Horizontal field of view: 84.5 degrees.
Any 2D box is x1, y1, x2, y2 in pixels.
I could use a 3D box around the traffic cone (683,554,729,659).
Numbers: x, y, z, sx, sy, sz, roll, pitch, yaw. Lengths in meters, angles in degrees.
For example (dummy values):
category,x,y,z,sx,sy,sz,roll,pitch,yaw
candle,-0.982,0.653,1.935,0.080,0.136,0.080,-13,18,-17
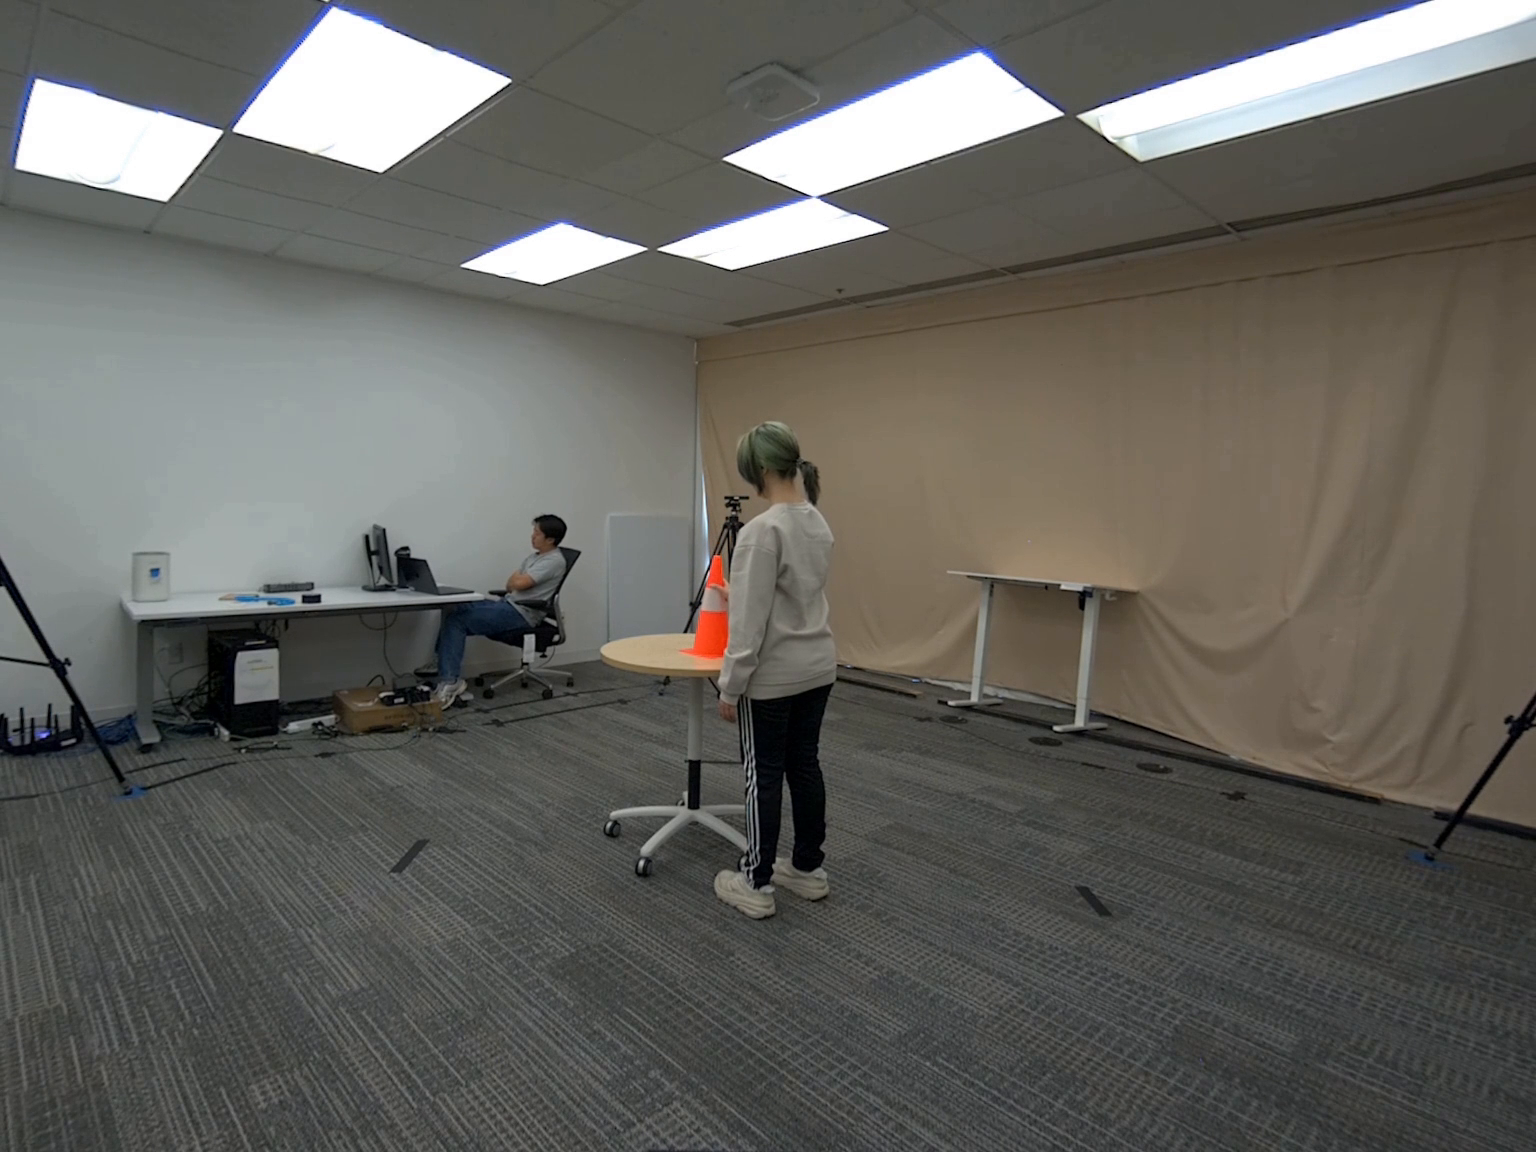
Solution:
category,x,y,z,sx,sy,sz,roll,pitch,yaw
traffic cone,-0.213,0.113,3.297,0.208,0.383,0.200,5,5,39
